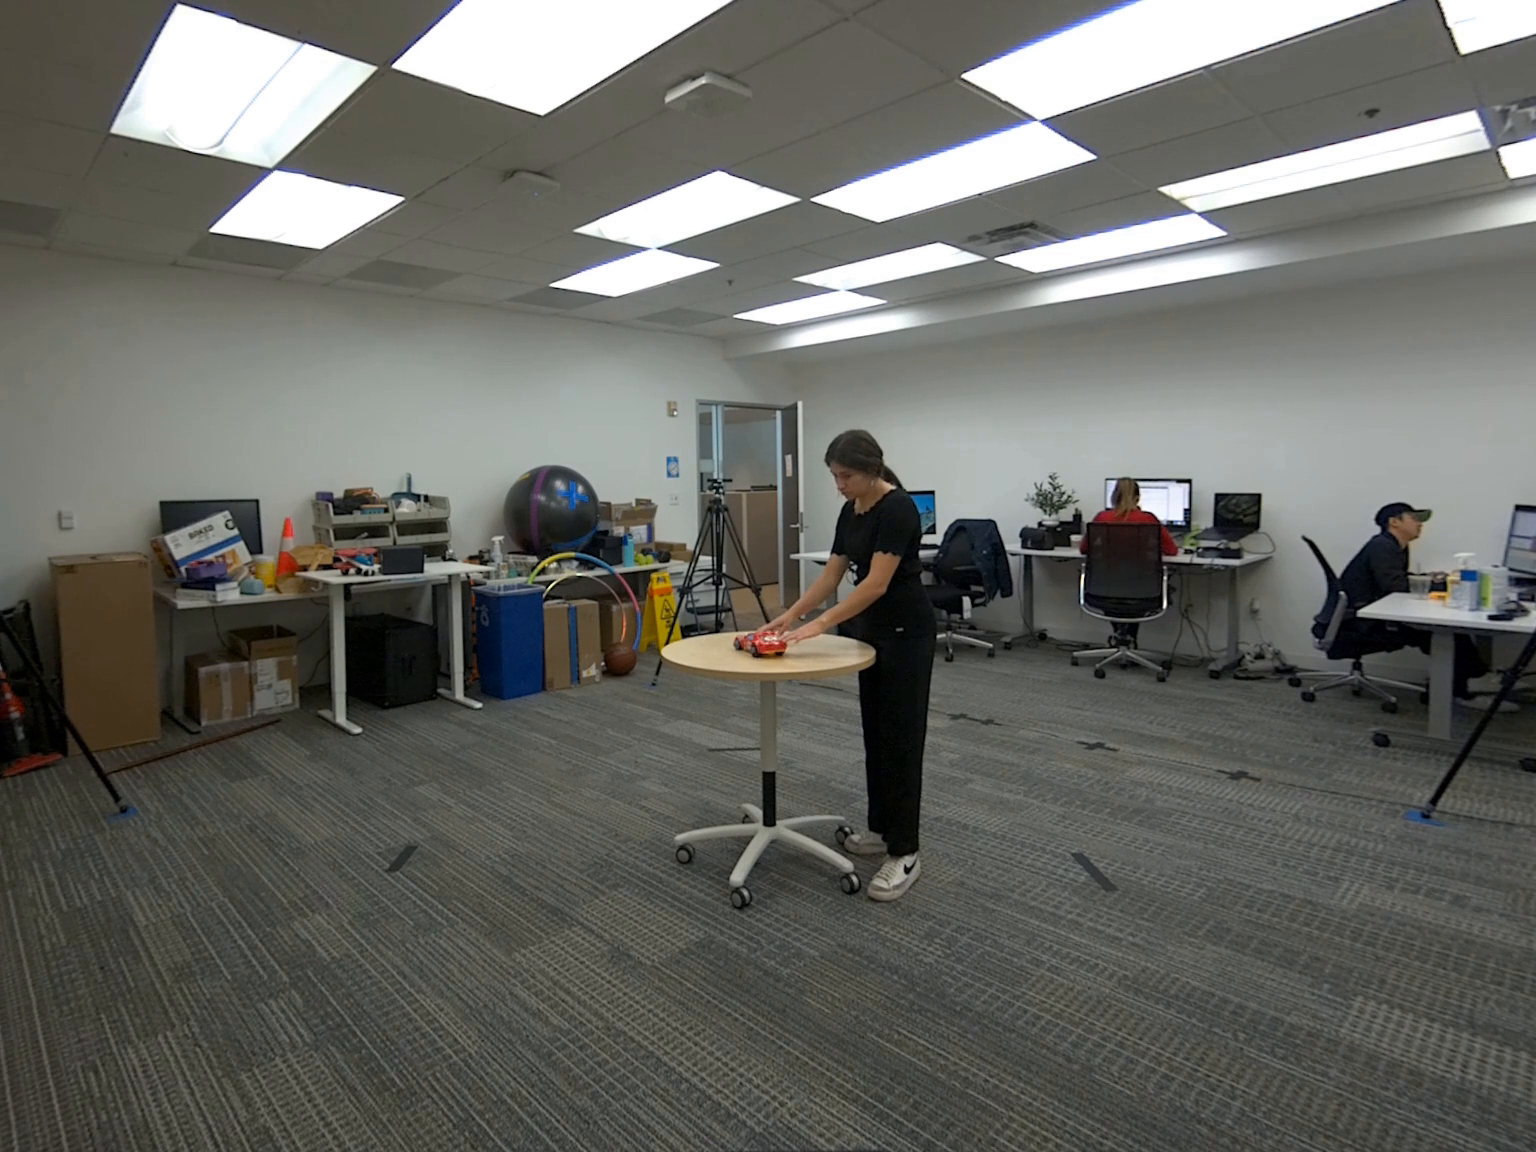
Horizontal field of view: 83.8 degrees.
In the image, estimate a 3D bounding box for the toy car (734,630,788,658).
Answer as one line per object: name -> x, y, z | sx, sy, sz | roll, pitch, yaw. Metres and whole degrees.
toy car -> -0.017, 0.239, 2.994 | 0.128, 0.084, 0.258 | -3, -5, -24
